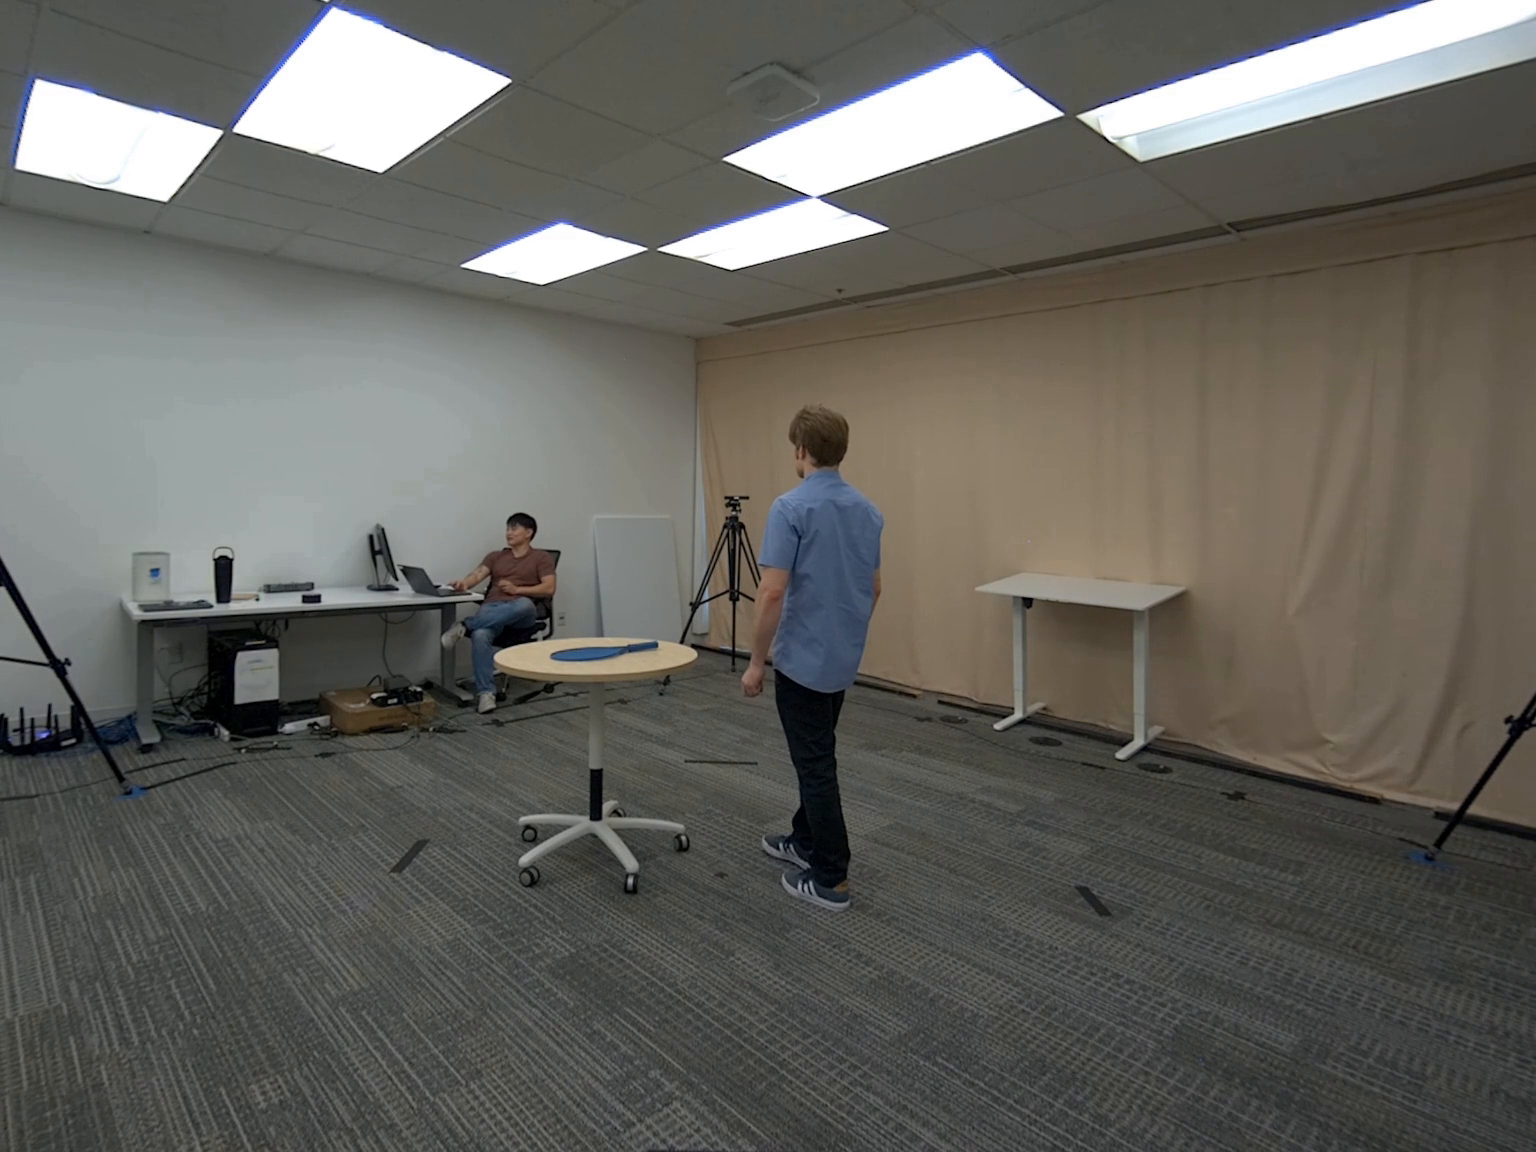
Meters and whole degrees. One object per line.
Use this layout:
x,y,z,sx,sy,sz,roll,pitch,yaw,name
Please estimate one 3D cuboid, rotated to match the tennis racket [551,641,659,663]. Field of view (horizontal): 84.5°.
-0.628,0.288,3.213,0.424,0.031,0.219,-4,6,-33,tennis racket
